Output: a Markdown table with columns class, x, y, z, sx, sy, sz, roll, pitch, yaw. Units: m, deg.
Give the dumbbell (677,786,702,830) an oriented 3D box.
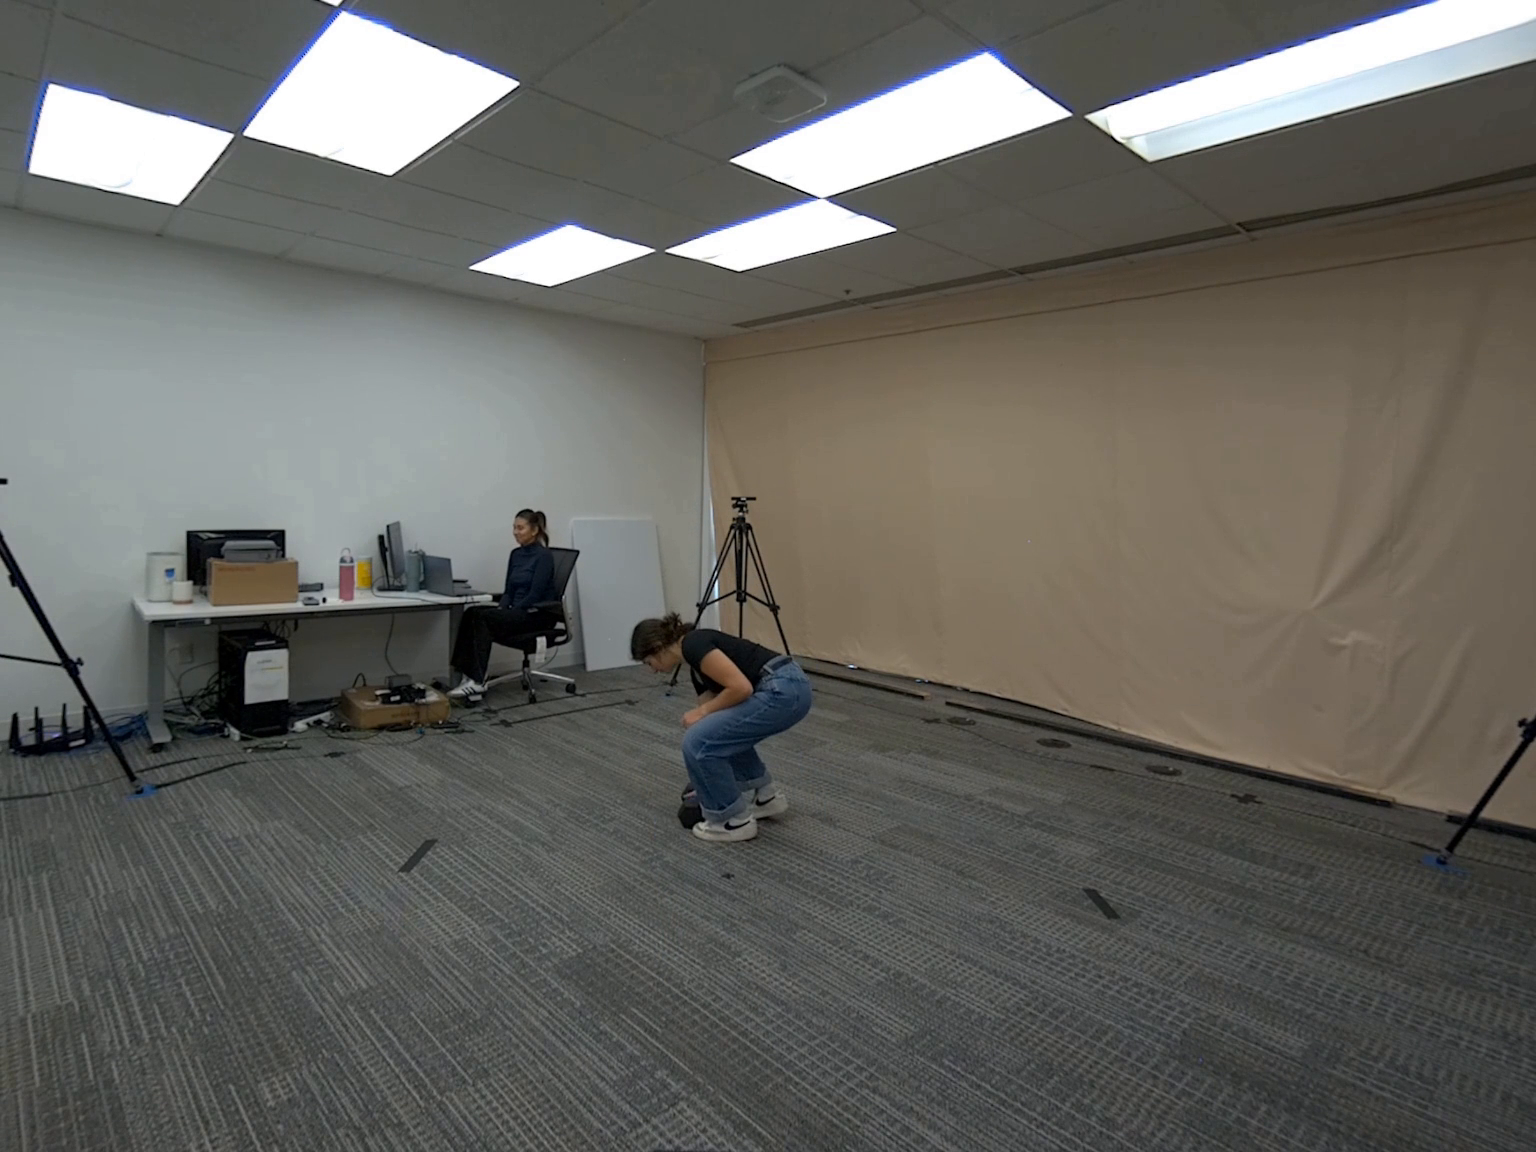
| class | x | y | z | sx | sy | sz | roll | pitch | yaw |
| --- | --- | --- | --- | --- | --- | --- | --- | --- | --- |
| dumbbell | -0.329 | 0.990 | 3.668 | 0.108 | 0.123 | 0.294 | 31 | 4 | -4 |
